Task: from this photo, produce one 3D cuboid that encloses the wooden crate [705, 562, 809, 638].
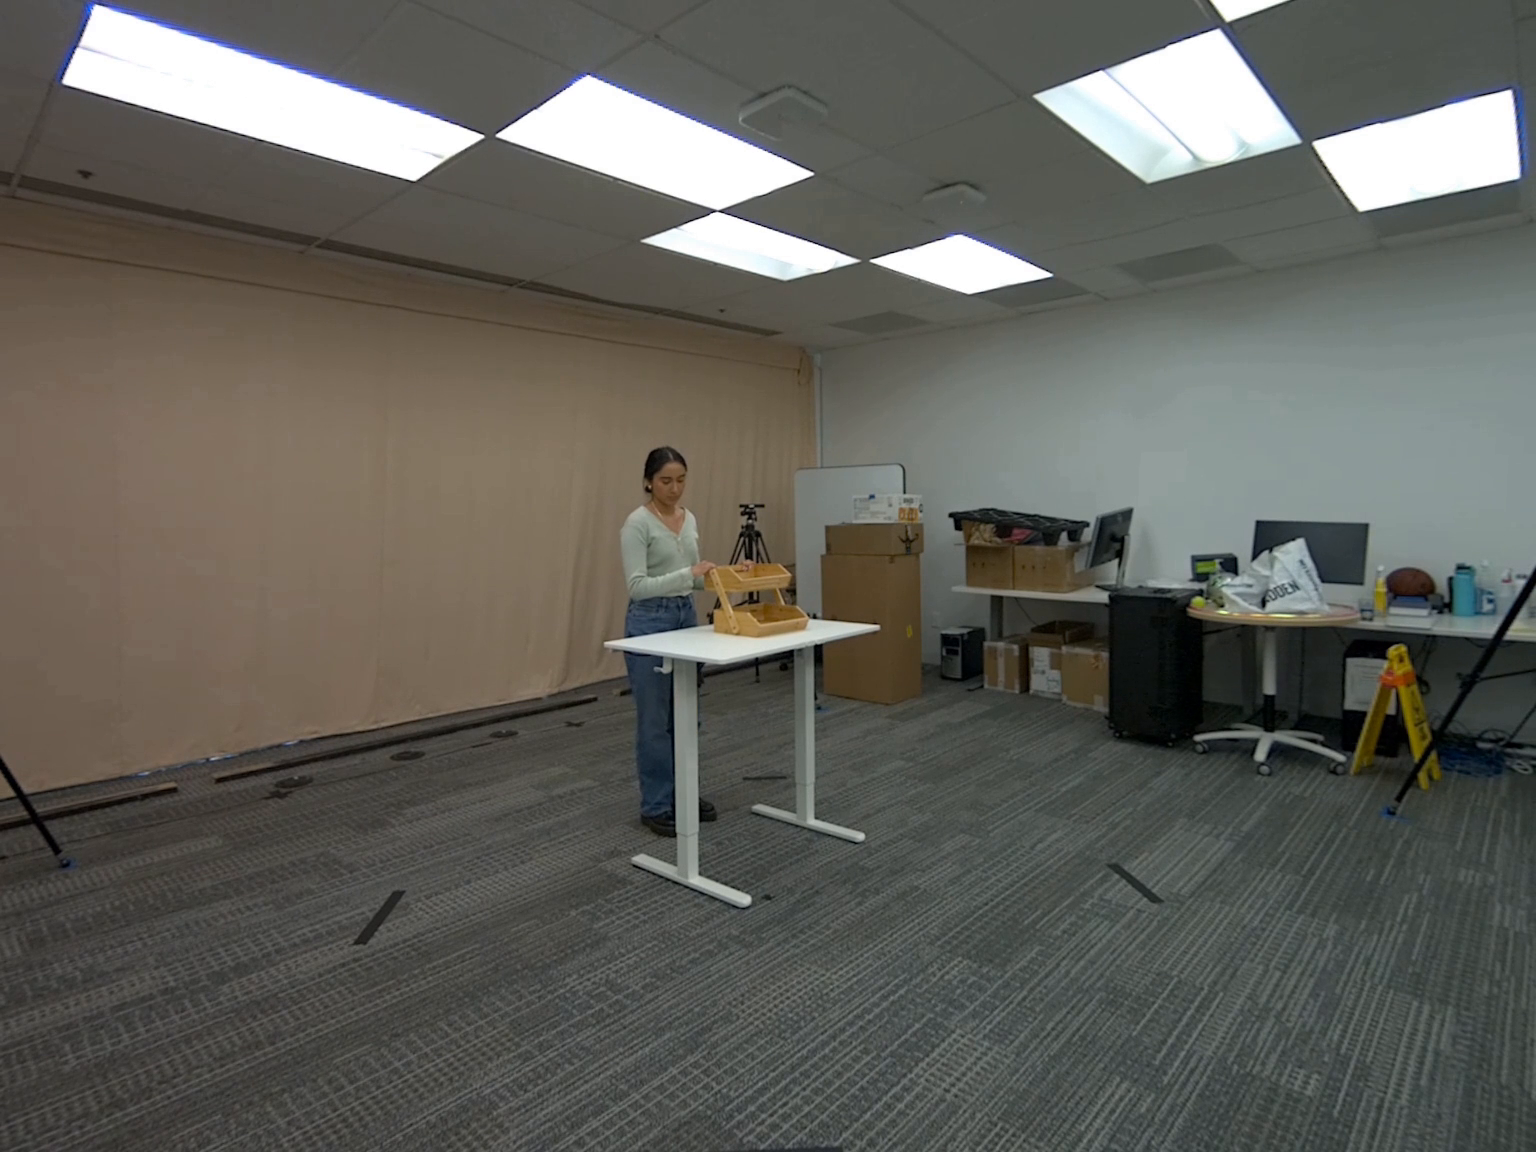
[{"bbox_3d":[-0.043,0.091,3.418,0.312,0.273,0.314,2,4,44],"label":"wooden crate"}]
